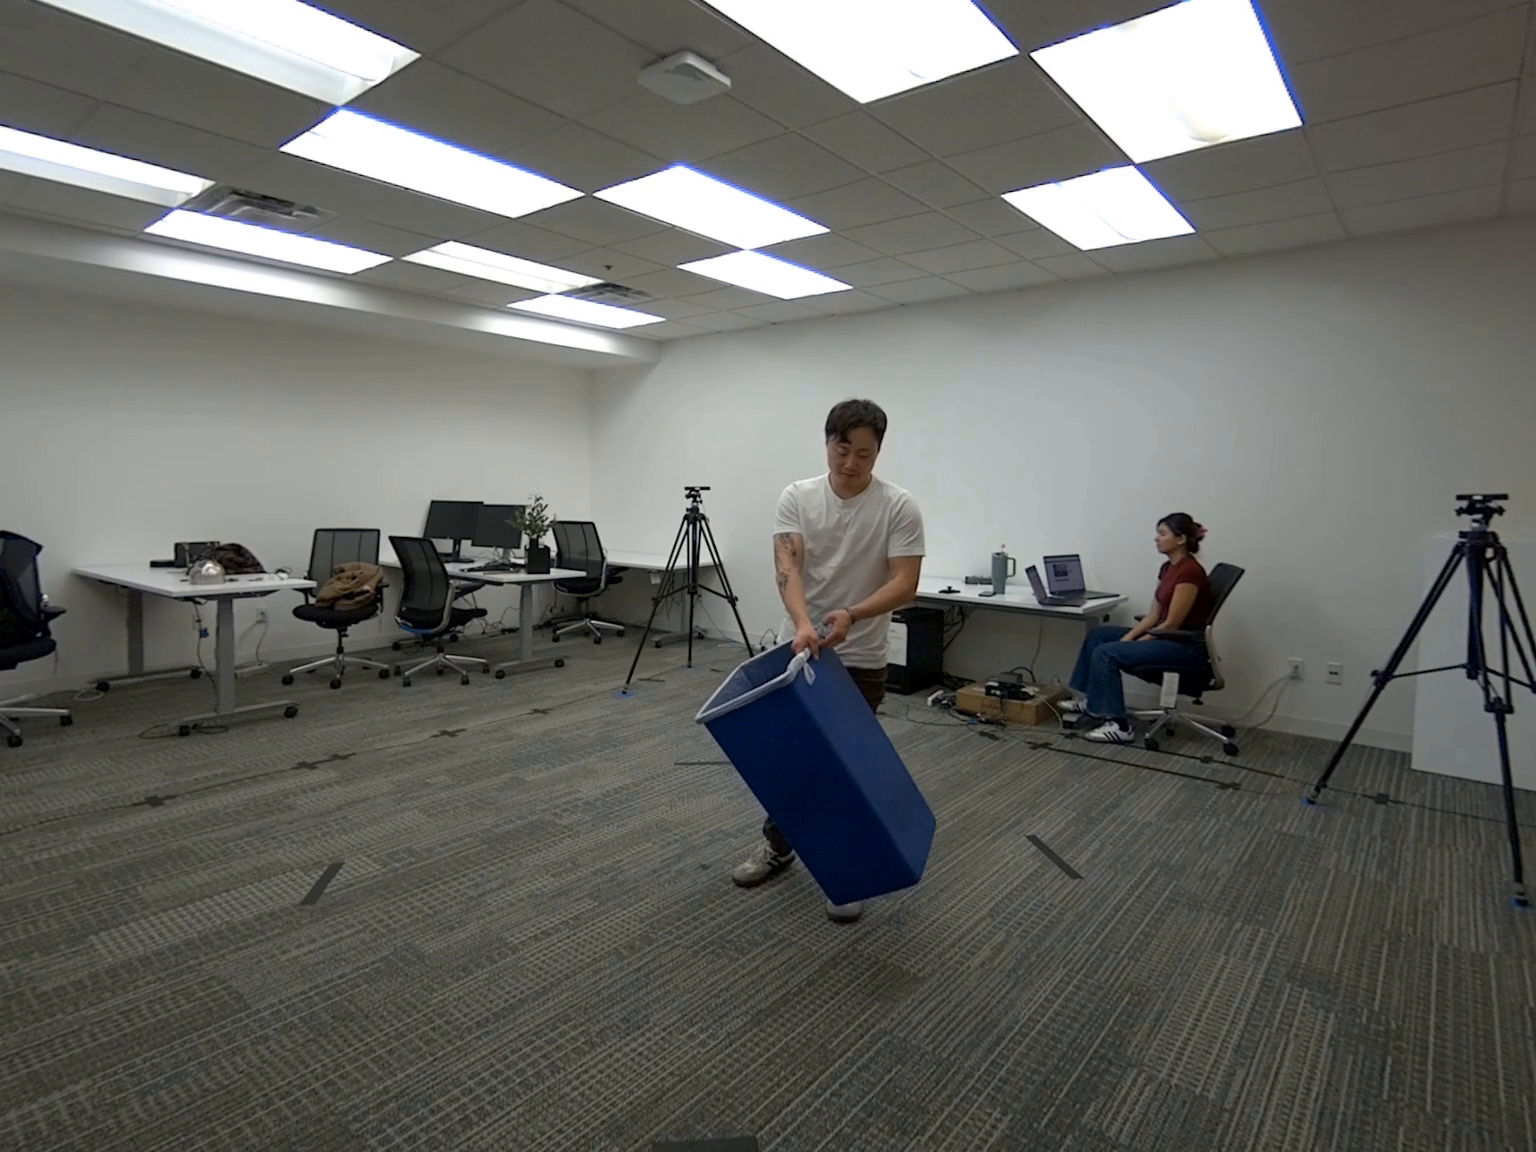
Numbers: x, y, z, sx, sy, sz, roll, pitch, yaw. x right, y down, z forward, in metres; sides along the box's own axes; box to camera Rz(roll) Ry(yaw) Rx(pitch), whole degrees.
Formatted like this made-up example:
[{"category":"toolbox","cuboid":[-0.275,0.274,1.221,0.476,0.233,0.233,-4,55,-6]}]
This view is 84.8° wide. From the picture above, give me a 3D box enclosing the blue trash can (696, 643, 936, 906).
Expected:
[{"category":"blue trash can","cuboid":[0.157,0.573,2.574,0.382,0.710,0.372,-31,4,28]}]
